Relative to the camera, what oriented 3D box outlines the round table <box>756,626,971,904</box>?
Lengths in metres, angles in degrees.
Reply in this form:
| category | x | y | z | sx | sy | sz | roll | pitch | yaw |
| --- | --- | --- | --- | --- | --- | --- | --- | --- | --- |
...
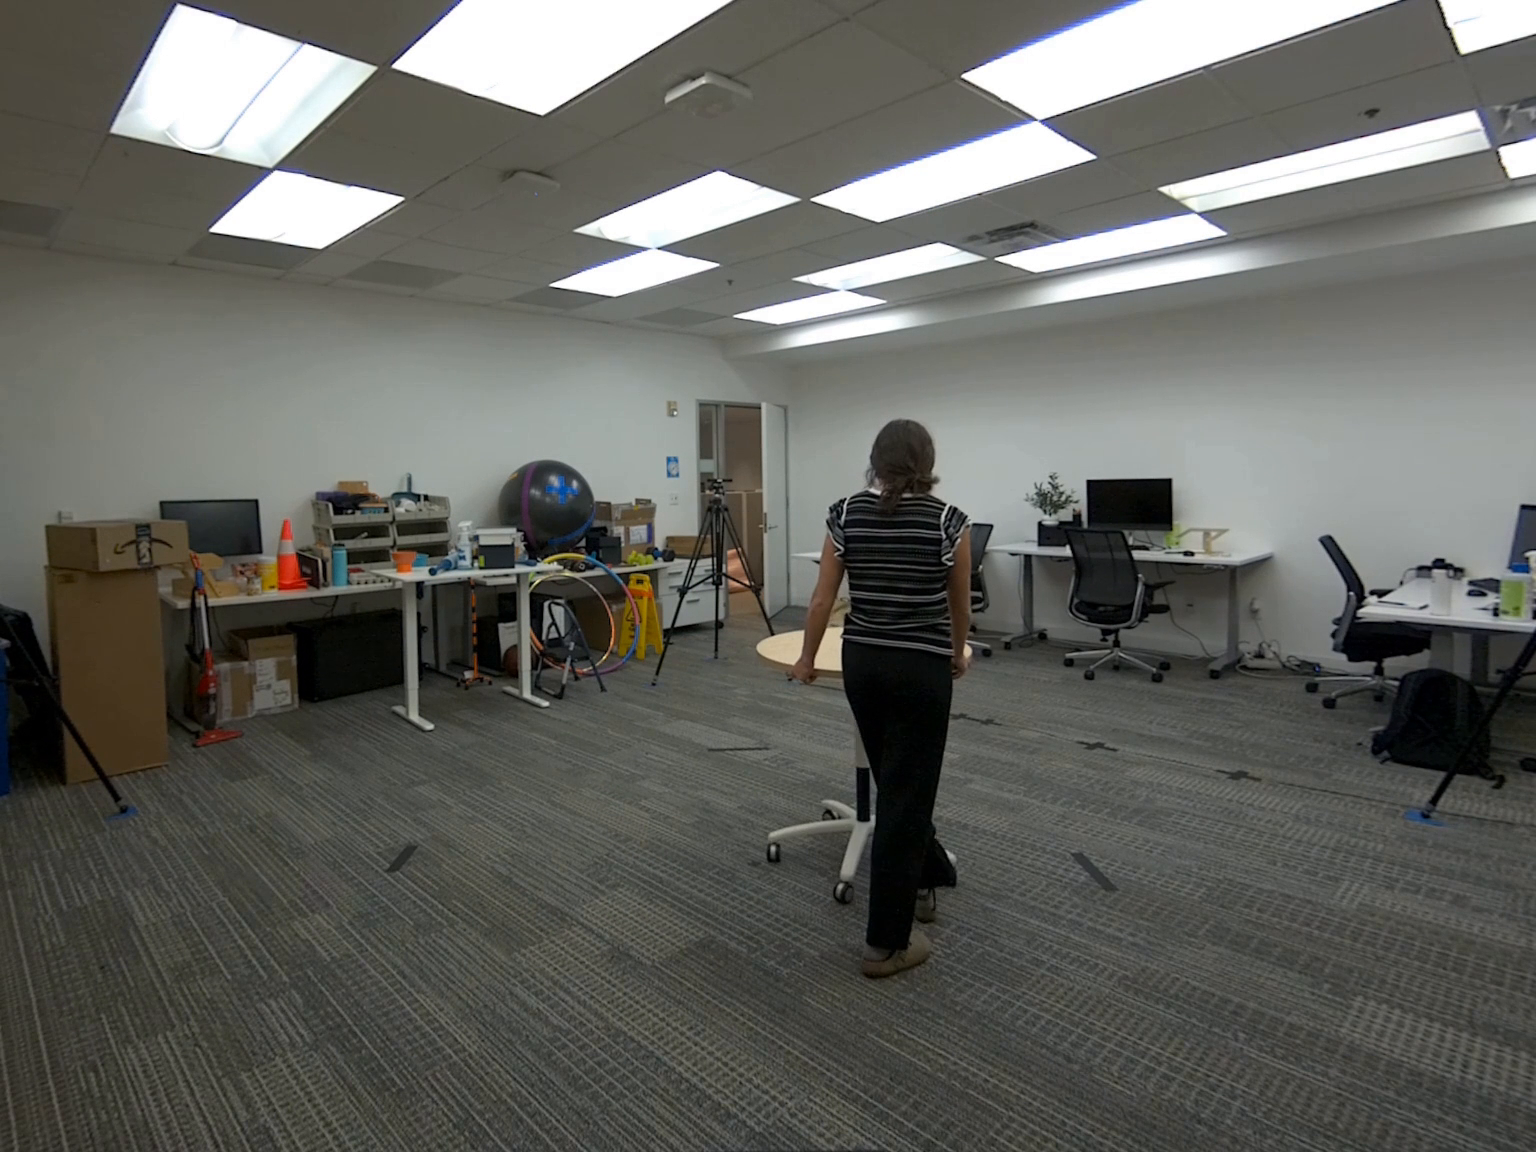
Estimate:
| category | x | y | z | sx | sy | sz | roll | pitch | yaw |
| --- | --- | --- | --- | --- | --- | --- | --- | --- | --- |
| round table | 0.345 | 0.649 | 3.120 | 0.763 | 0.791 | 0.768 | -1 | 5 | -2 |
